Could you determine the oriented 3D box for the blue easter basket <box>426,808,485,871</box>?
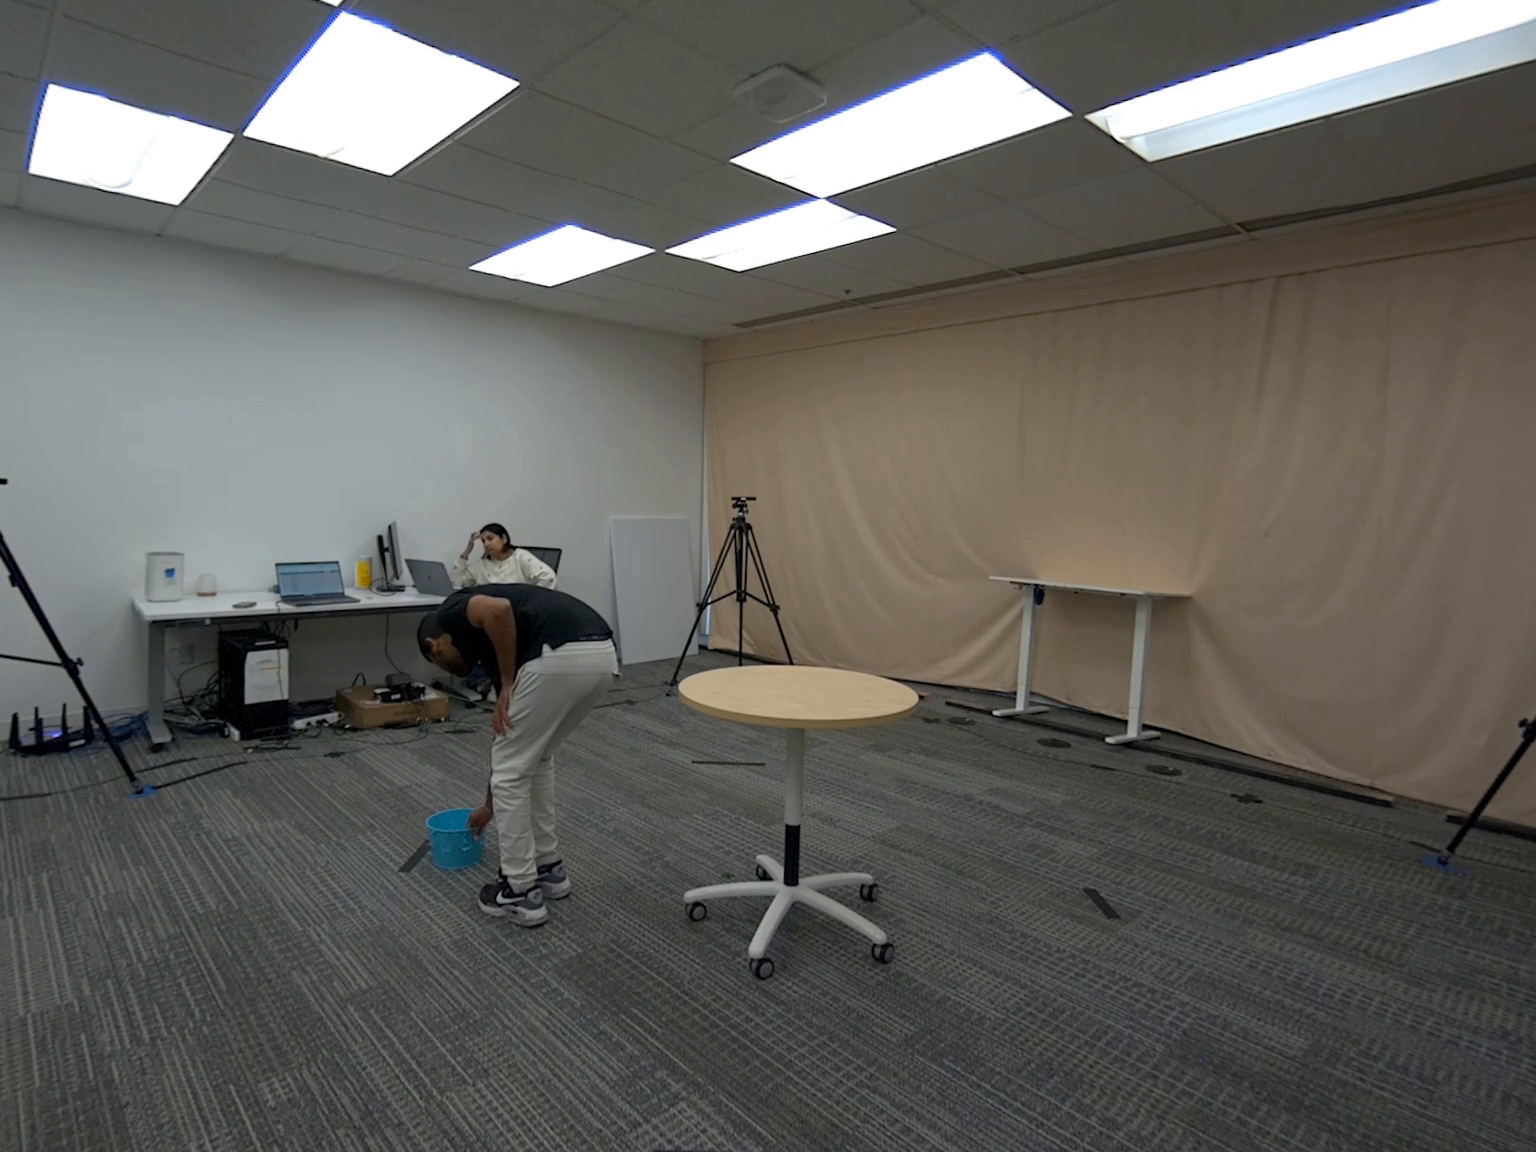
[{"bbox_3d":[-1.188,1.001,3.202,0.243,0.155,0.244,1,4,-1],"label":"blue easter basket"}]
